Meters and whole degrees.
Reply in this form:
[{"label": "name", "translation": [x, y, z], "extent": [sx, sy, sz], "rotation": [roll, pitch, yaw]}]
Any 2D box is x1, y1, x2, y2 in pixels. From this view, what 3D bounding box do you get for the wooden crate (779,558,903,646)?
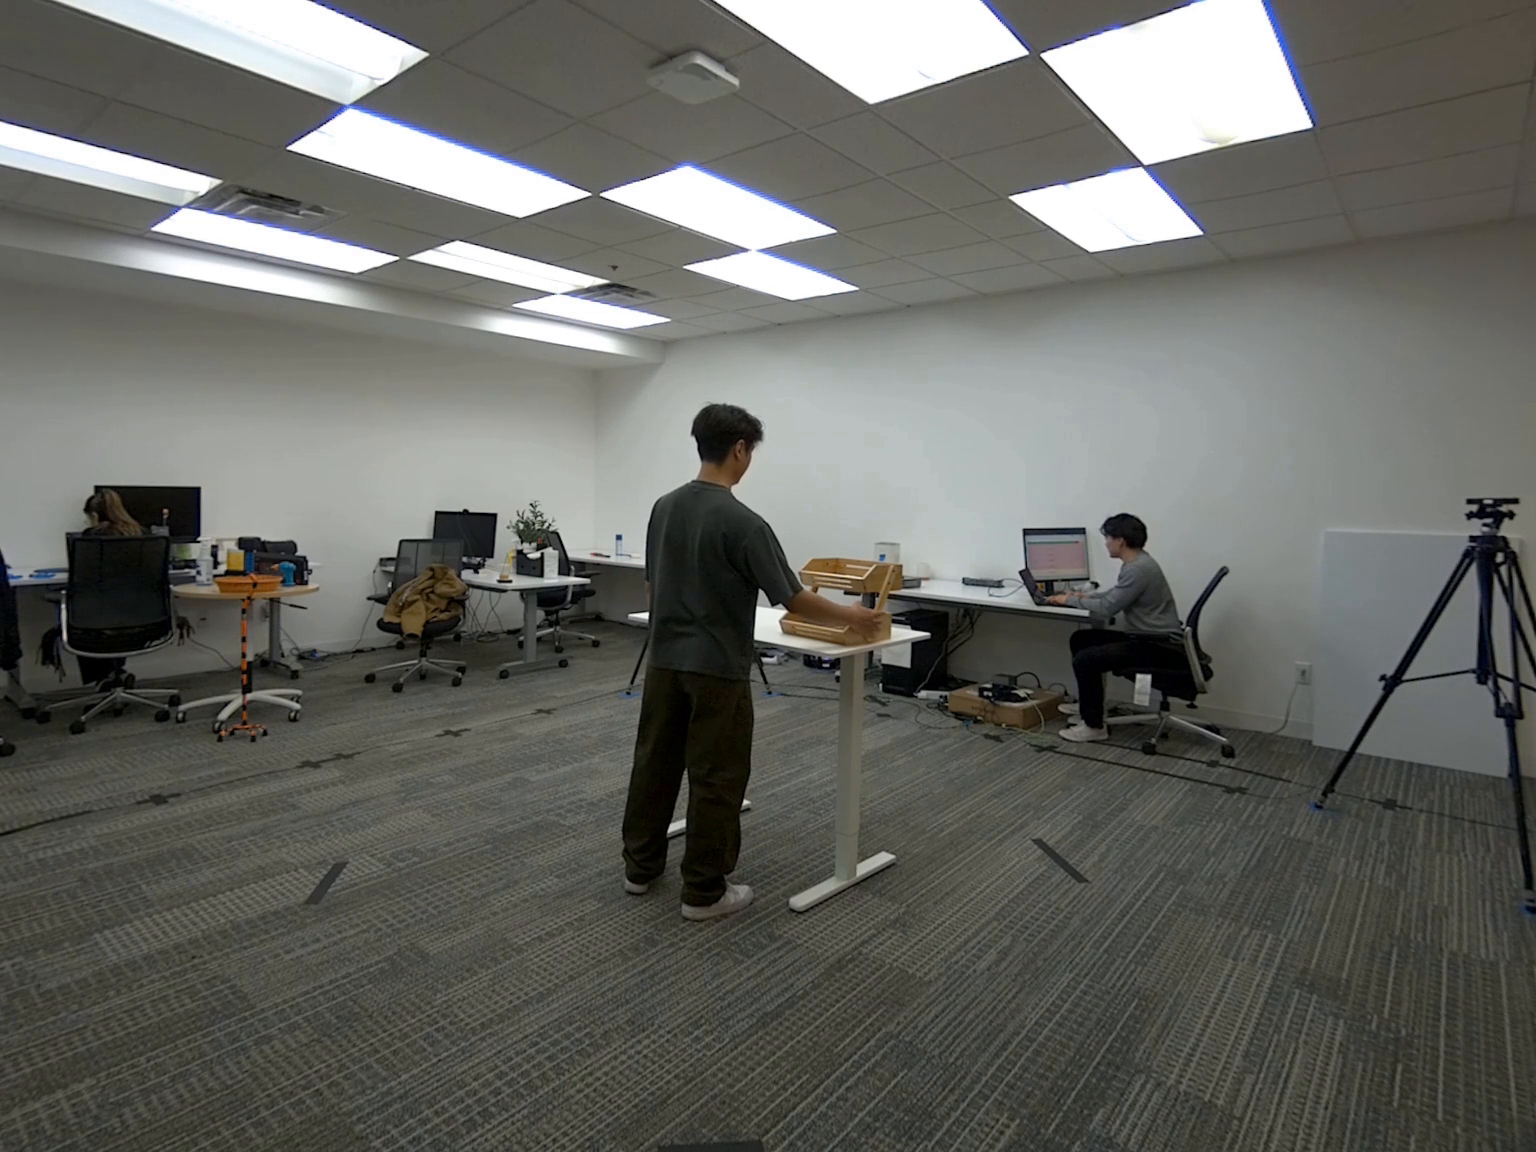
[{"label": "wooden crate", "translation": [0.246, 0.076, 2.989], "extent": [0.293, 0.272, 0.336], "rotation": [-3, 6, -43]}]
